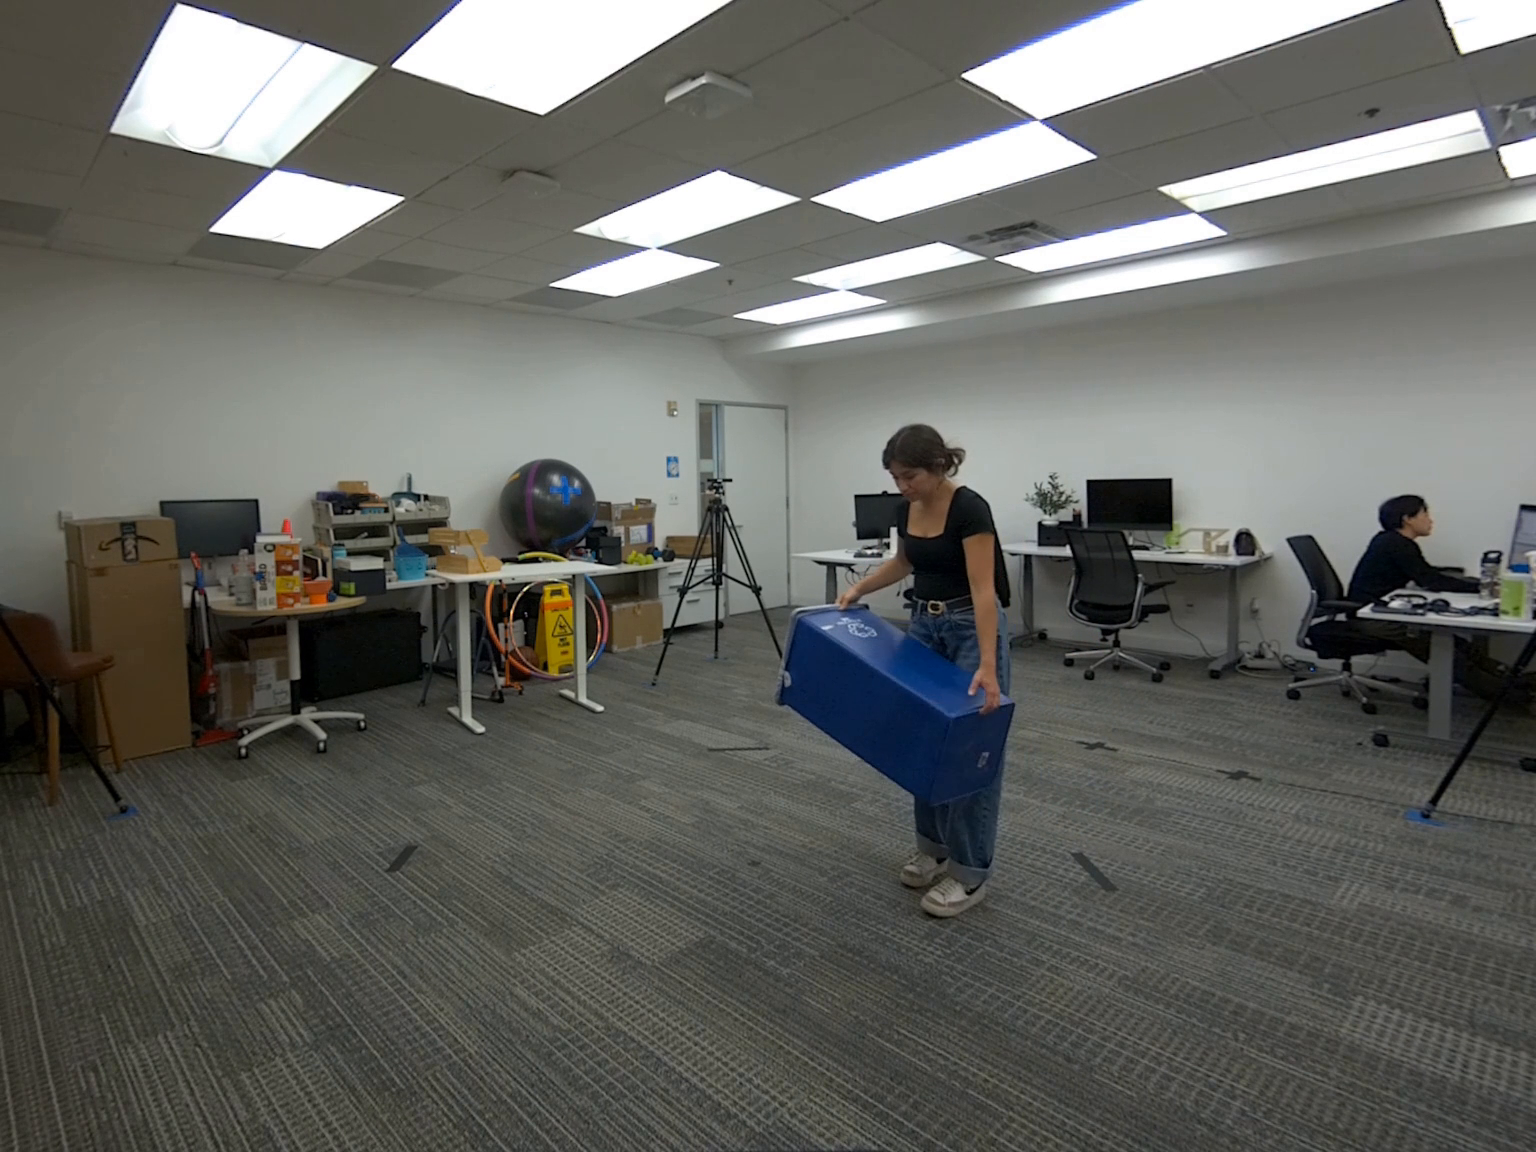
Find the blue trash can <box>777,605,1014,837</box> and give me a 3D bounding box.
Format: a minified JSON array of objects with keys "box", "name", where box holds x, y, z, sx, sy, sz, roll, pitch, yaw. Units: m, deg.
[{"box":[0.409,0.413,2.809,0.368,0.369,0.741,-3,23,-35],"name":"blue trash can"}]
